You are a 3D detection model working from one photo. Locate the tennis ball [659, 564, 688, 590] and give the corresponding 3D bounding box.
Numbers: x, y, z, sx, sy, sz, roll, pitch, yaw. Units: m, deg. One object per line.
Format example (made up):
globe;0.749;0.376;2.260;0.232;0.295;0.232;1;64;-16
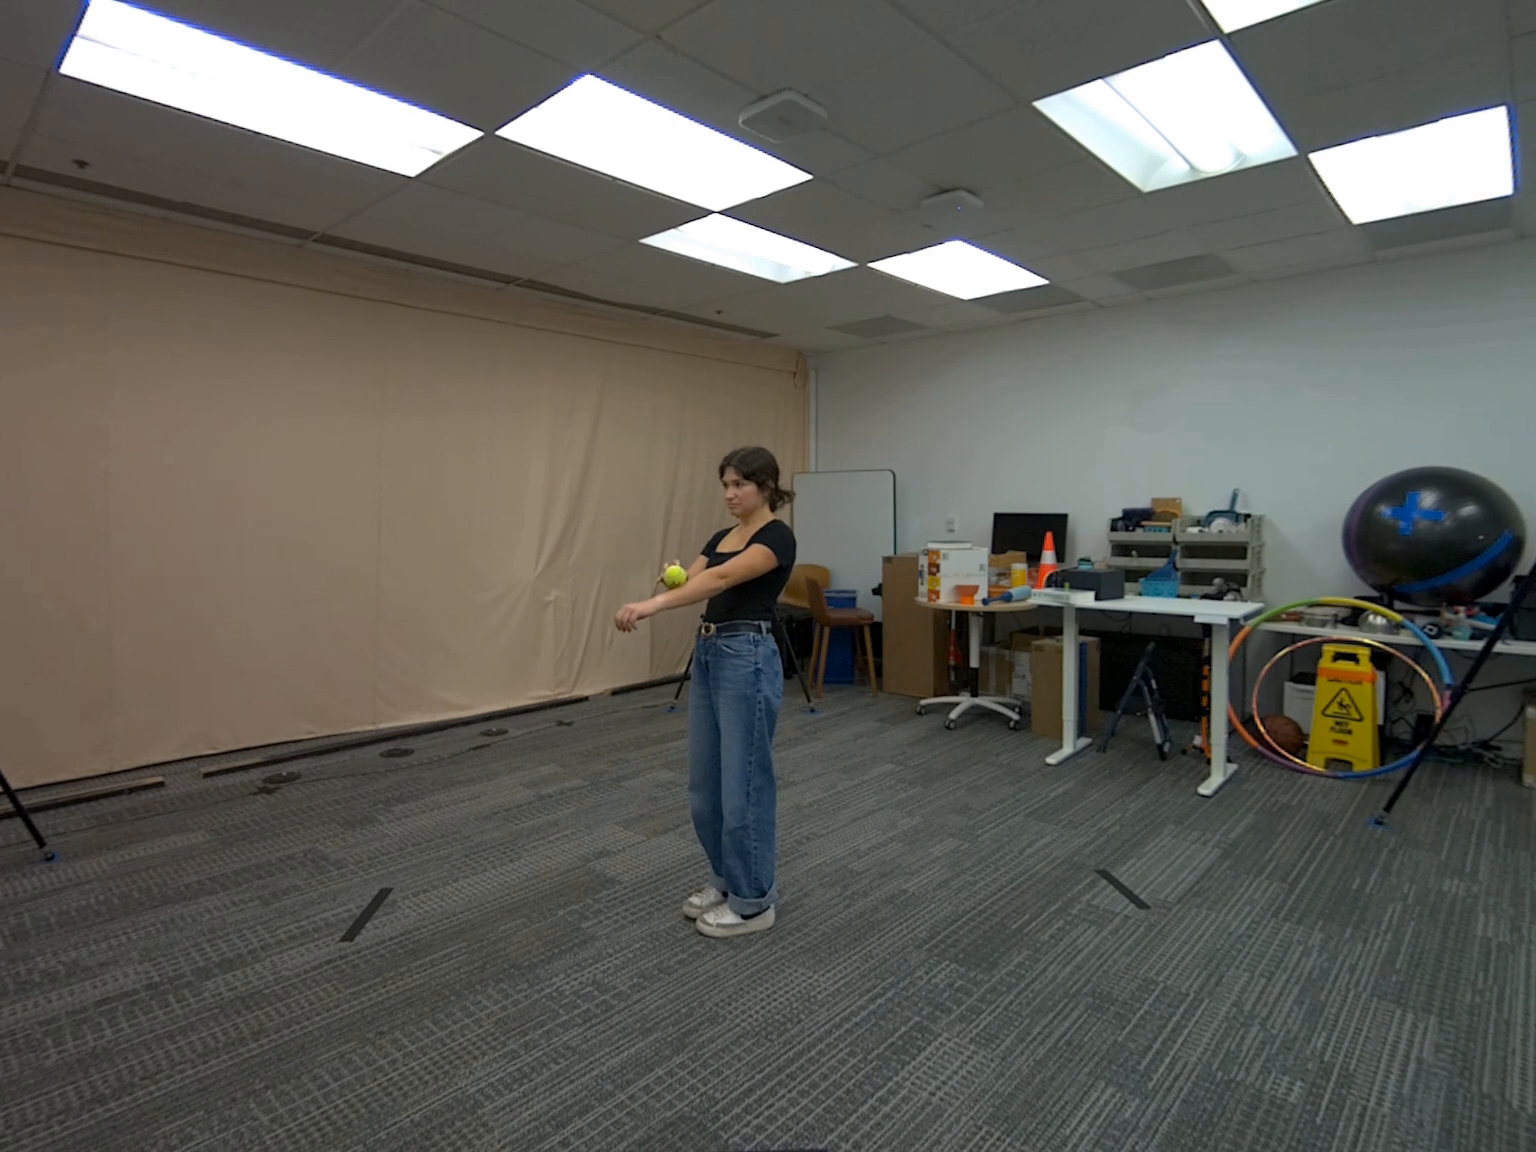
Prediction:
tennis ball;-0.278;0.007;2.558;0.066;0.066;0.067;0;4;-2
